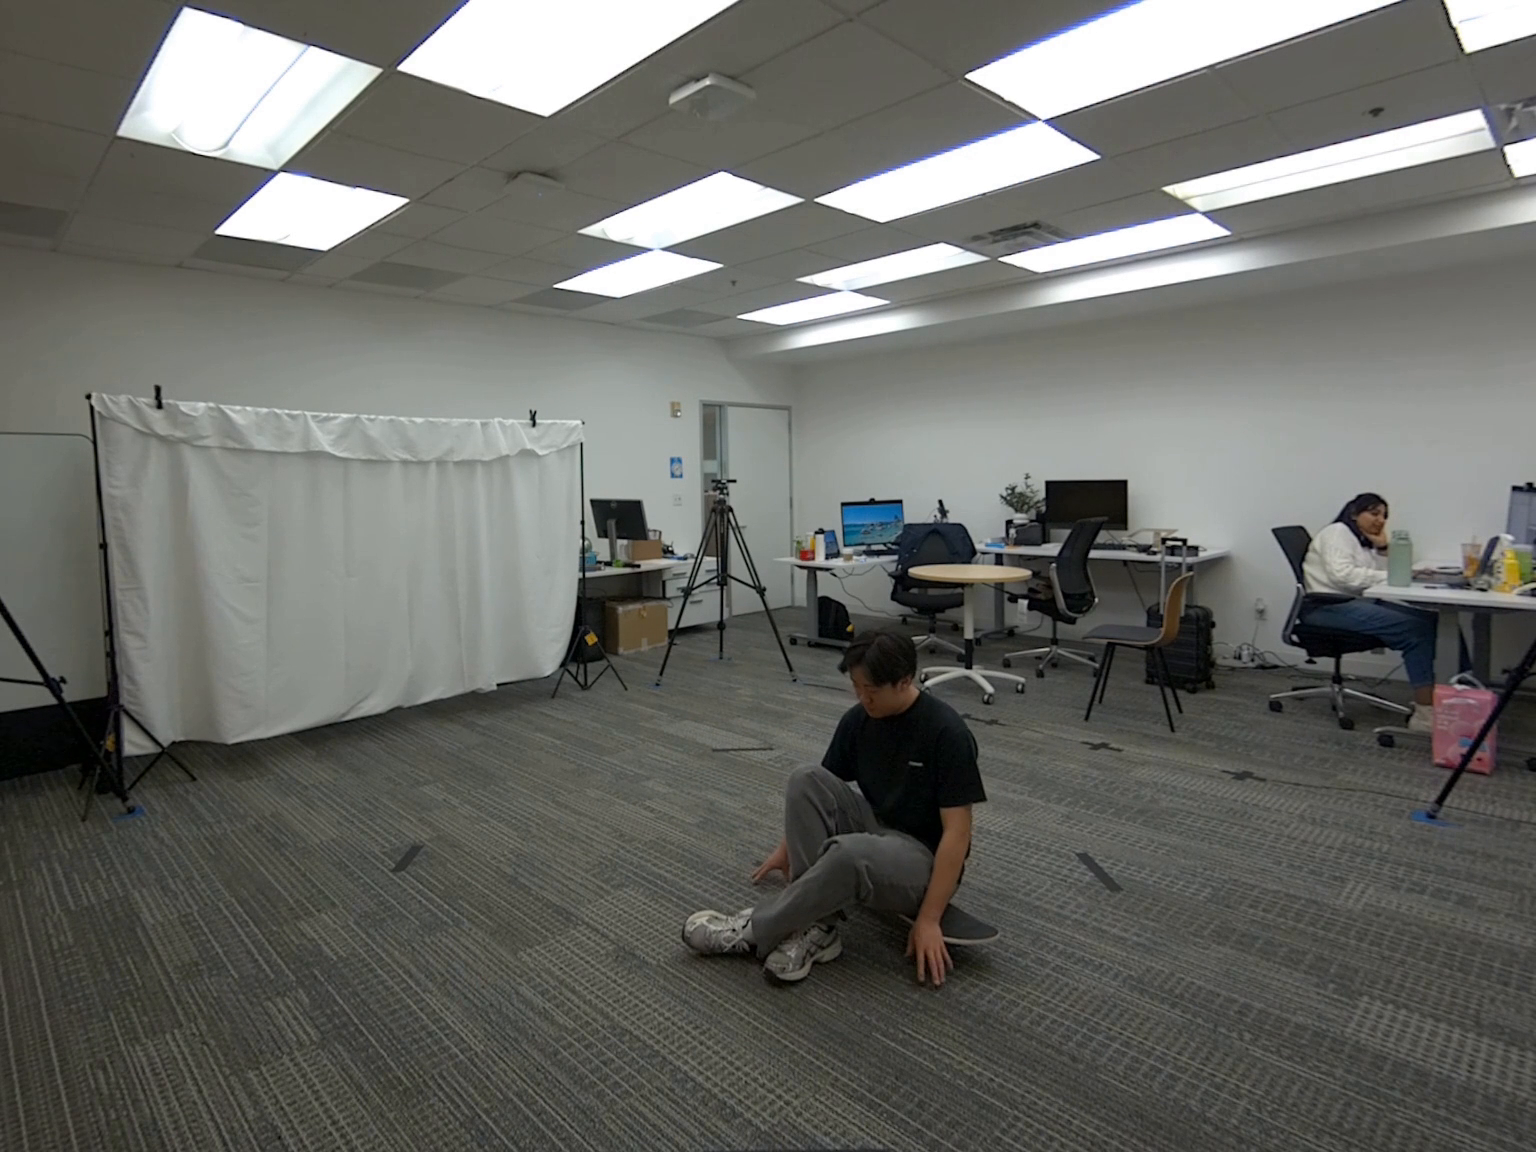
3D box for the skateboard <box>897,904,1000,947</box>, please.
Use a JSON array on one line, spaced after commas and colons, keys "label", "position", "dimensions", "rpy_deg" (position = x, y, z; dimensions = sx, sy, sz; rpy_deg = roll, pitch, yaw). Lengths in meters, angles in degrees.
[{"label": "skateboard", "position": [0.403, 1.026, 2.710], "dimensions": [0.188, 0.110, 0.808], "rpy_deg": [2, 5, -32]}]
